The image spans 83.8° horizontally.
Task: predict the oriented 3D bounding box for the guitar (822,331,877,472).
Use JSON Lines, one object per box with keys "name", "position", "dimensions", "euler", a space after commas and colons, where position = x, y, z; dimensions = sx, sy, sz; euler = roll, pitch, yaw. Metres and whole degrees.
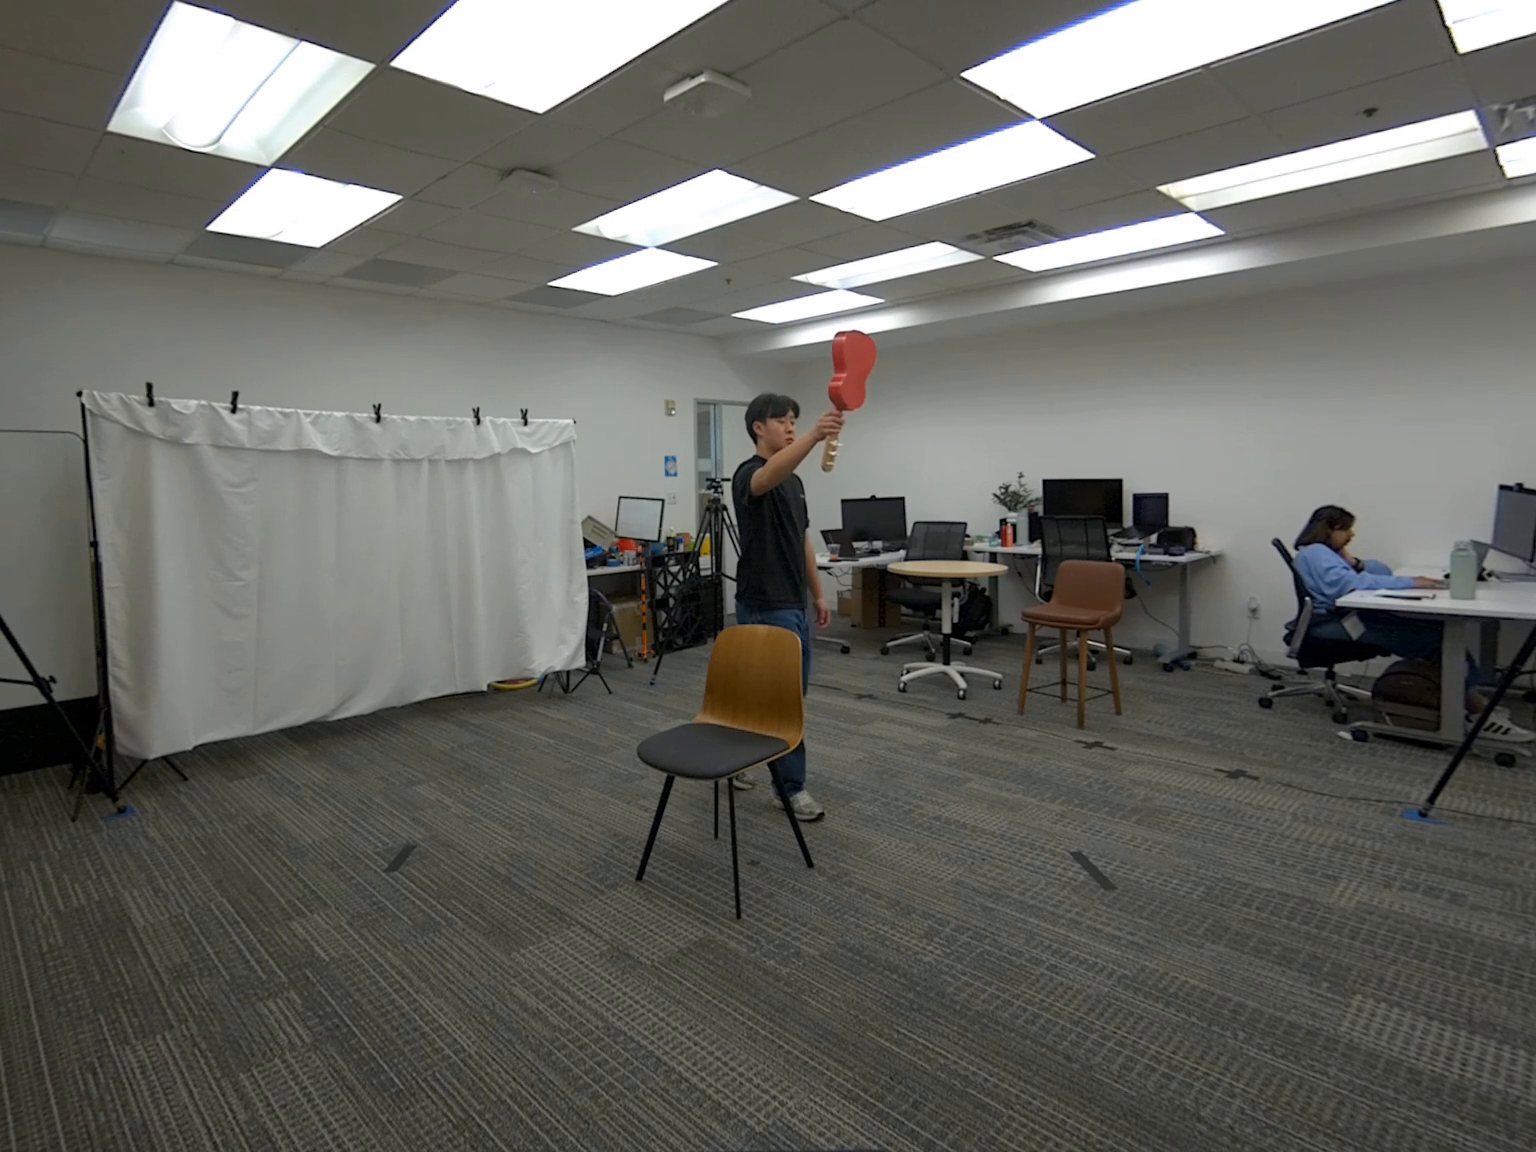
{"name": "guitar", "position": [0.289, -0.616, 3.041], "dimensions": [0.073, 0.496, 0.187], "euler": [9, 6, 41]}
